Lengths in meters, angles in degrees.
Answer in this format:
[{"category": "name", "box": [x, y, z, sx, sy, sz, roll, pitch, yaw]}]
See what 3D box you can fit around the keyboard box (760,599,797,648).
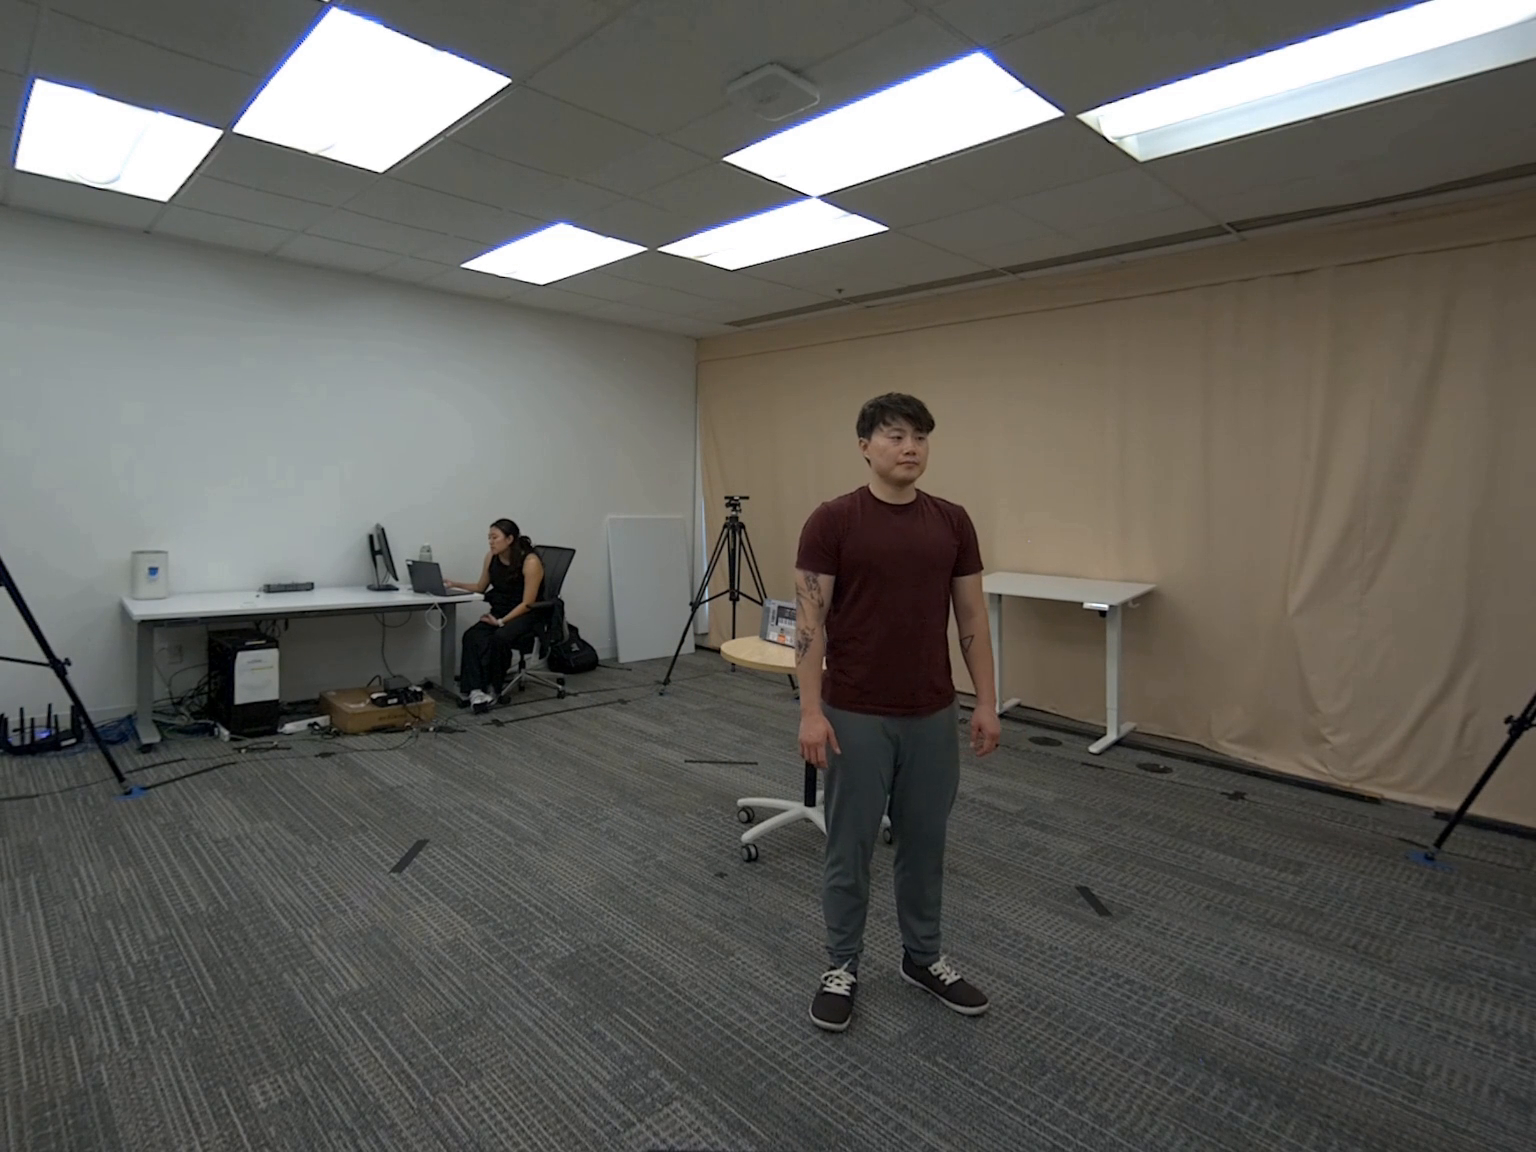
[{"category": "keyboard box", "box": [0.119, 0.209, 3.474, 0.057, 0.176, 0.448, 8, 0, -36]}]
